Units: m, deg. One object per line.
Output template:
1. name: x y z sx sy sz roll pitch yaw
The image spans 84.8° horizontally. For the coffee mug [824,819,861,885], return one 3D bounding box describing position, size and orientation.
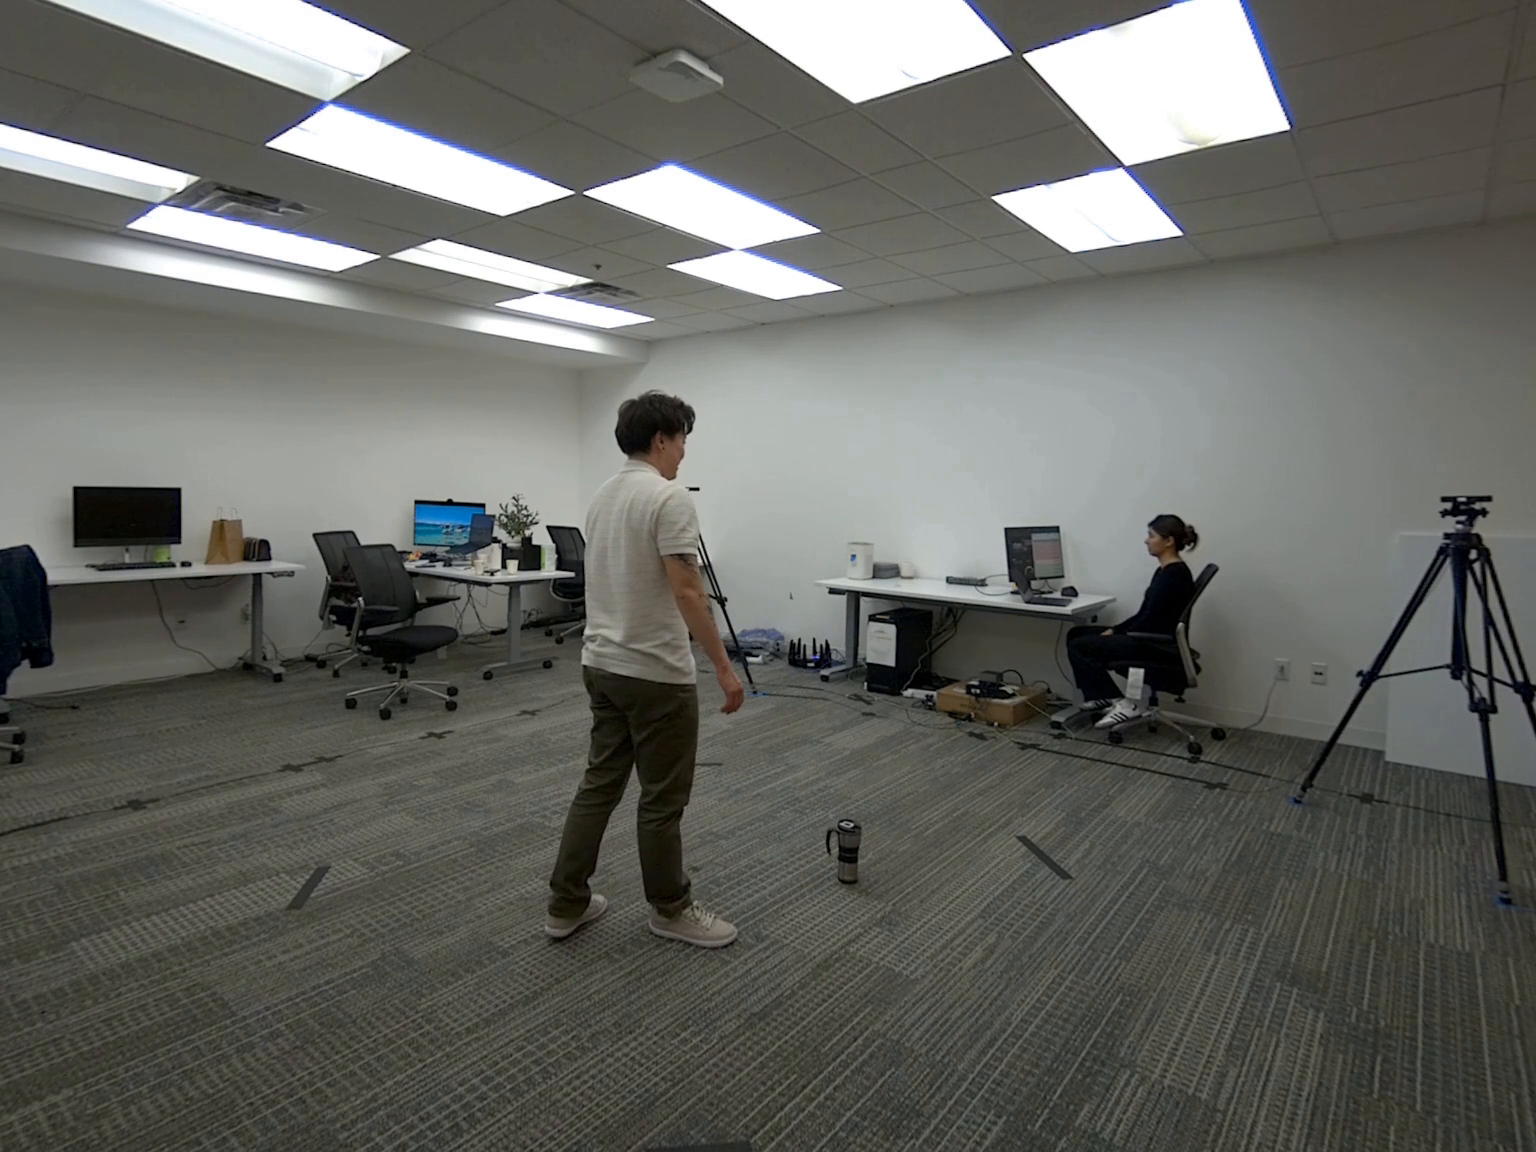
1. coffee mug: 0.266 0.986 3.047 0.126 0.201 0.086 8 9 32
